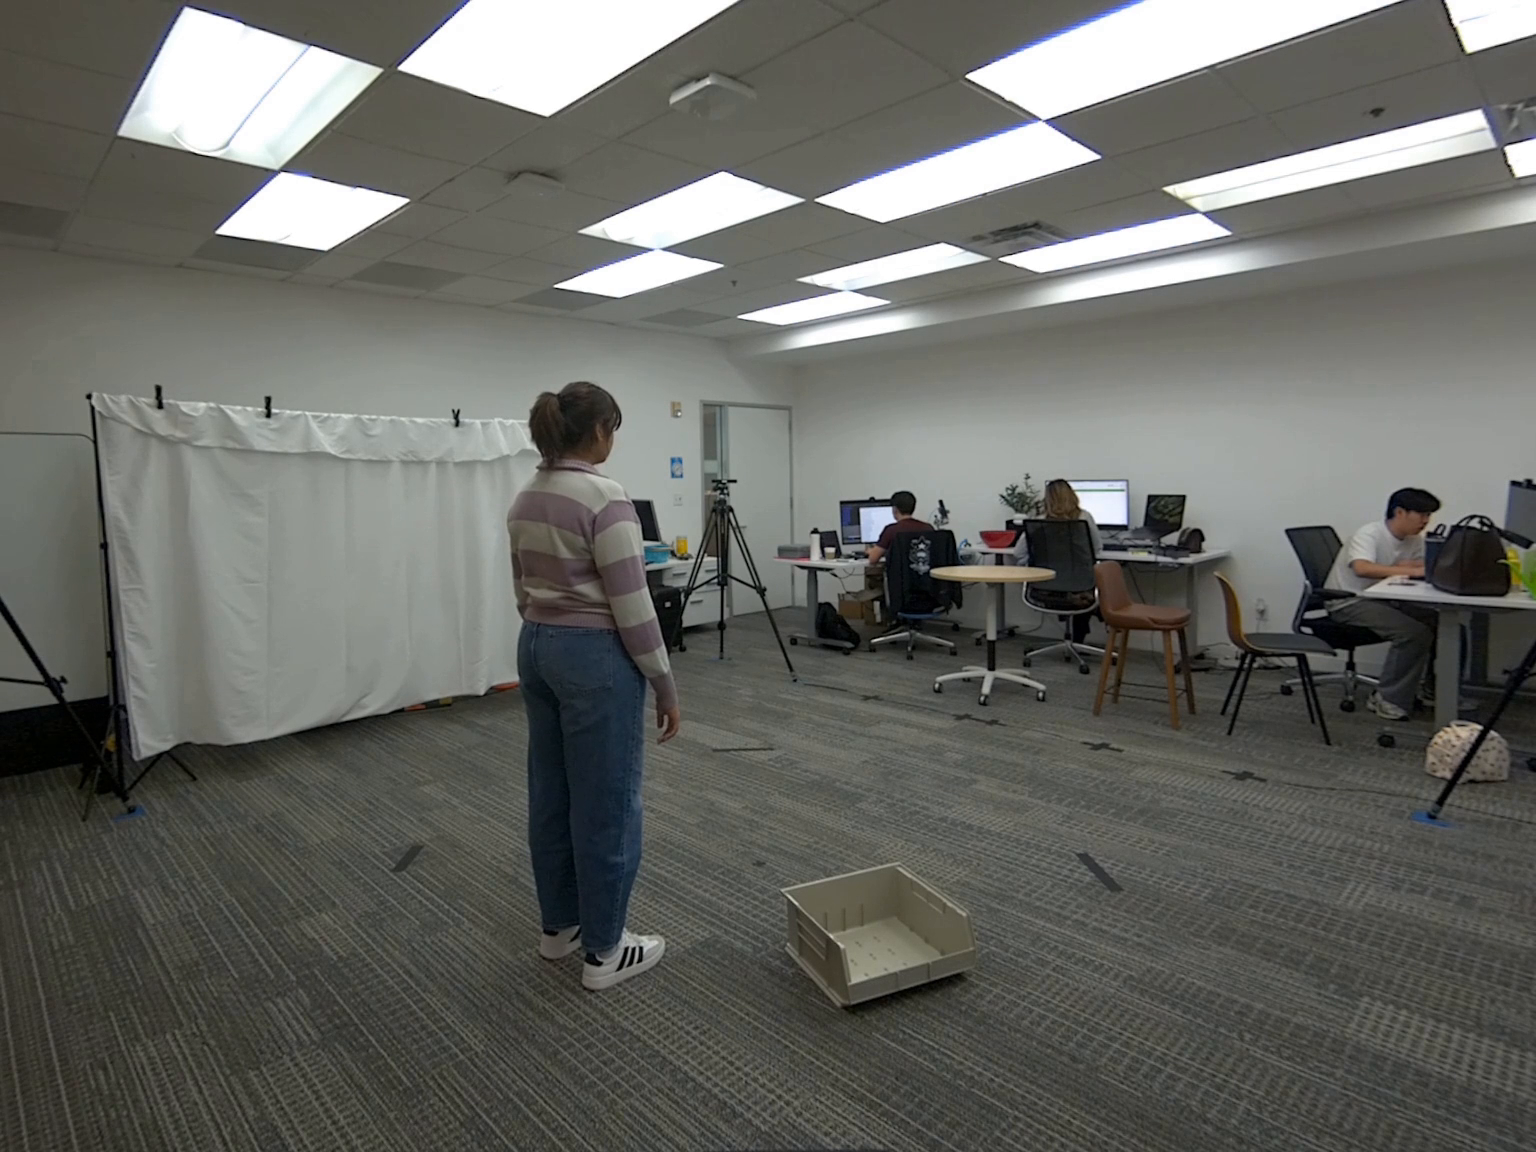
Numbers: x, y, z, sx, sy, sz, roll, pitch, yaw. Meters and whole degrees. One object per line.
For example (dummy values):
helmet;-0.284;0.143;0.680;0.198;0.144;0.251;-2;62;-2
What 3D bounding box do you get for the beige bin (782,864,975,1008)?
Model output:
beige bin;0.316;1.029;2.452;0.414;0.188;0.386;-4;5;-25
